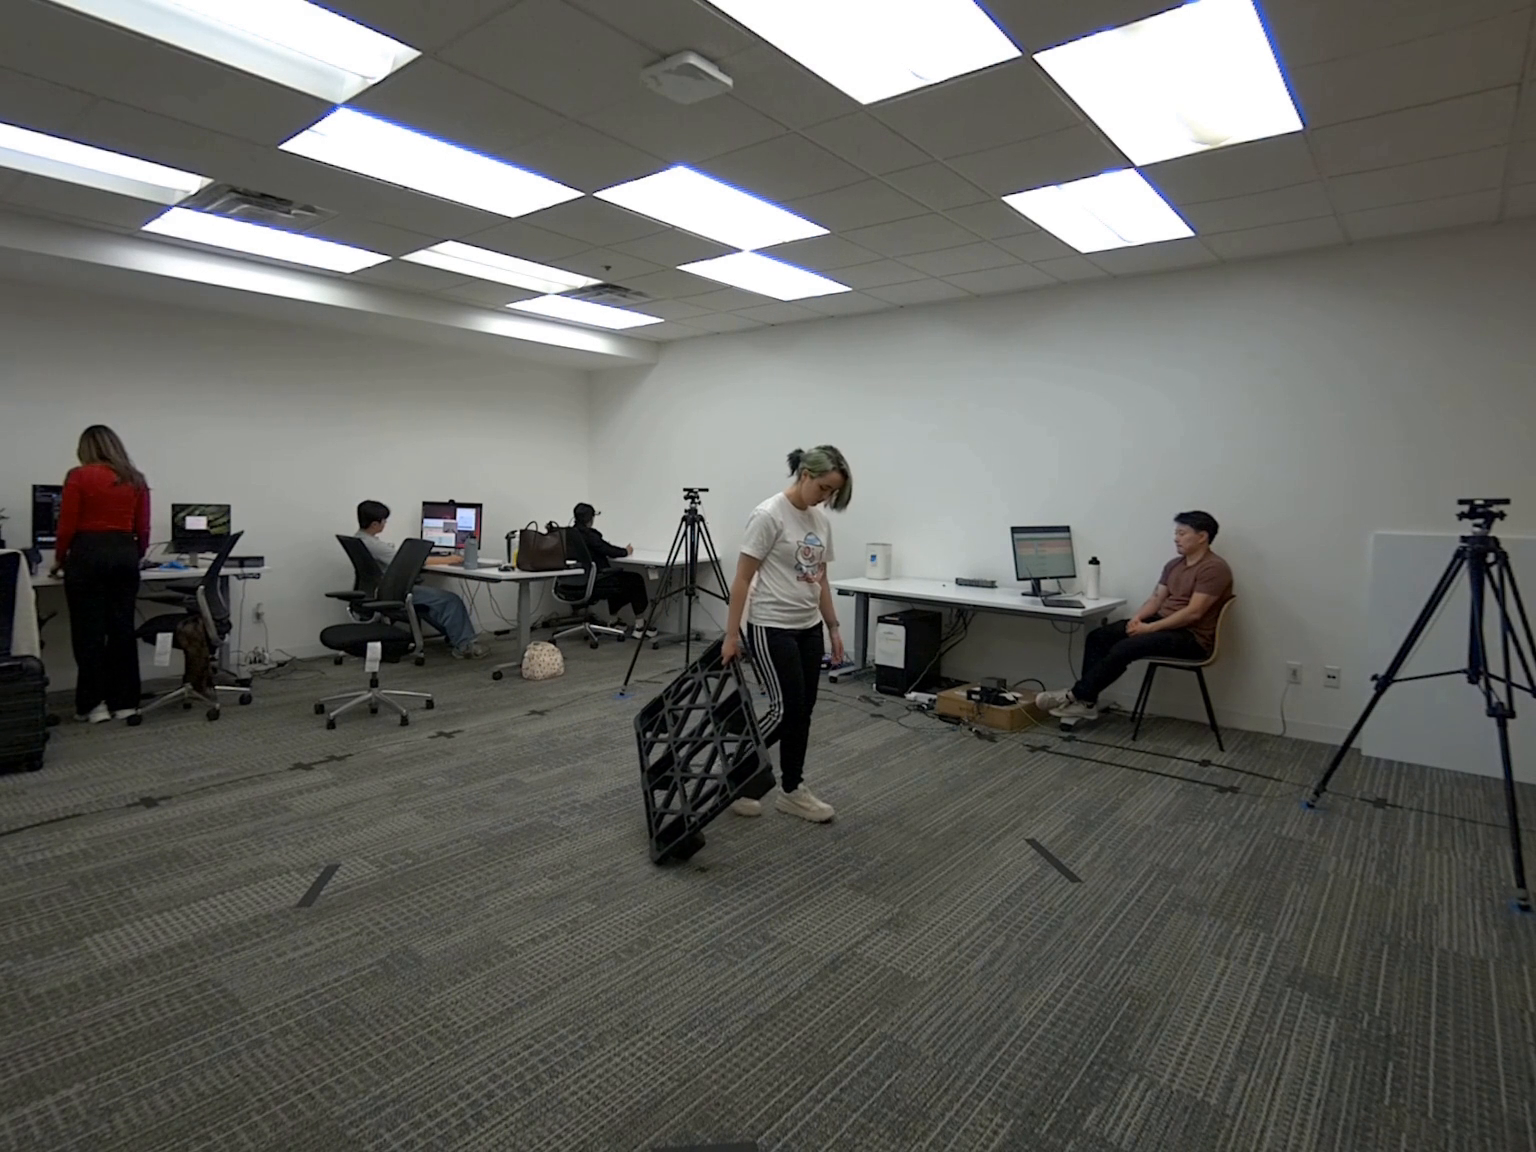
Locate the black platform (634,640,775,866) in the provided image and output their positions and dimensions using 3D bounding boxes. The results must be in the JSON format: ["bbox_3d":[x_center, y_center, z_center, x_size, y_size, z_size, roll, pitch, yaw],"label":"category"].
[{"bbox_3d":[-0.273,0.681,3.414,0.138,0.605,0.833,37,16,-30],"label":"black platform"}]
